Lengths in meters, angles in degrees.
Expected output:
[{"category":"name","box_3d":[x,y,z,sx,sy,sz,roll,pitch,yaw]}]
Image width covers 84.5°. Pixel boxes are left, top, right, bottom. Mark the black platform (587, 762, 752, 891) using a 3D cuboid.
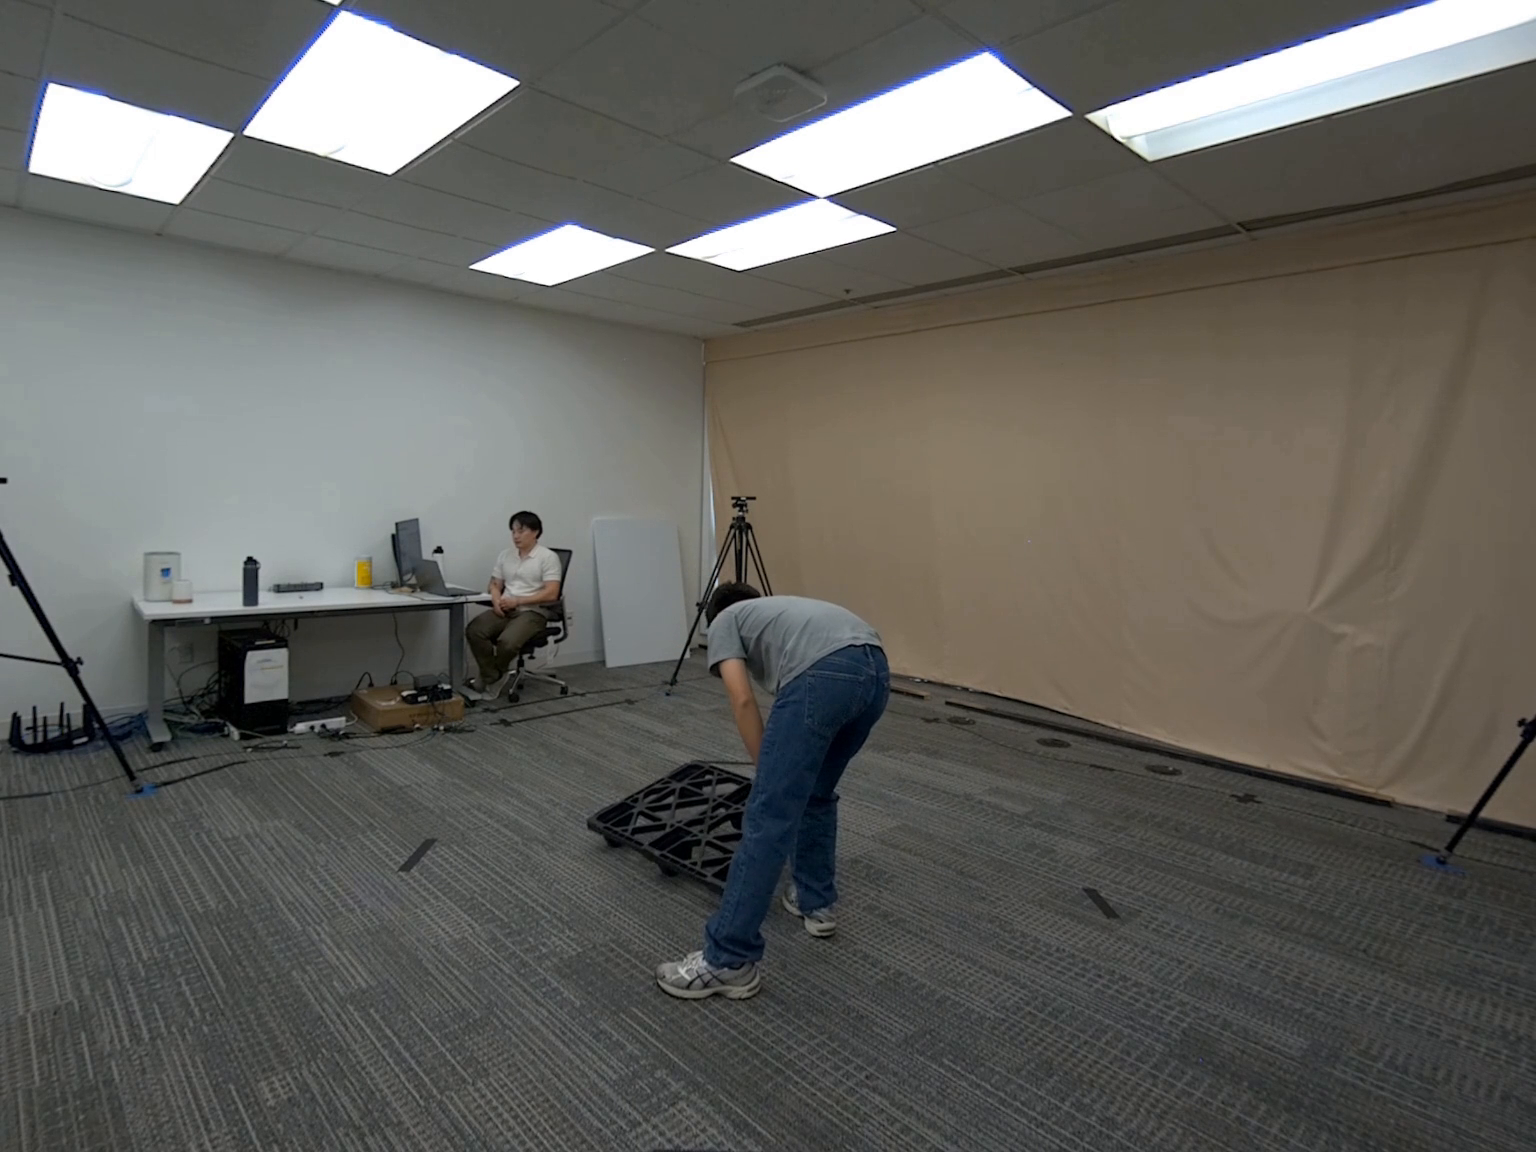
[{"category":"black platform","box_3d":[-0.231,0.975,3.250,0.826,0.142,0.596,6,19,44]}]
